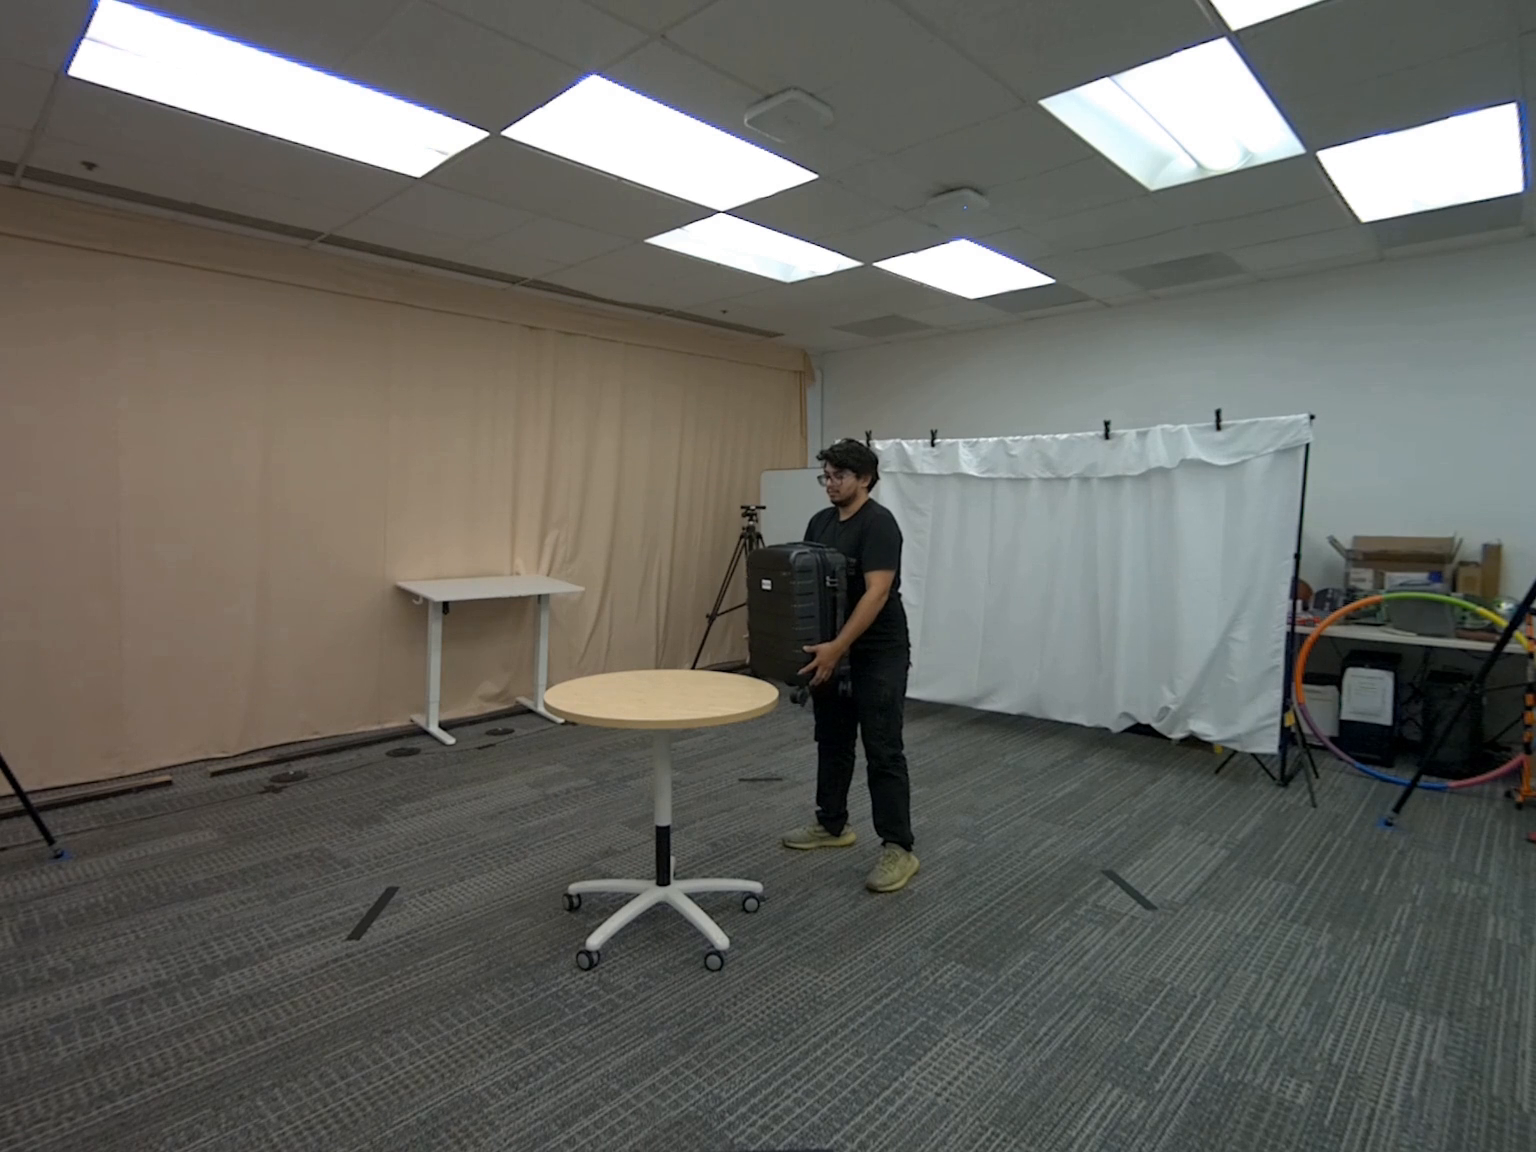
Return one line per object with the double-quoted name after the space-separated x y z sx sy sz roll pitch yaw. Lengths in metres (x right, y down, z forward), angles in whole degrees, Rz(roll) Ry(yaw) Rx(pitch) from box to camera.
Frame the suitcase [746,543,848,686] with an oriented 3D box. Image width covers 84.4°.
0.103 0.152 3.123 0.241 0.548 0.387 -3 3 -36 "suitcase"
